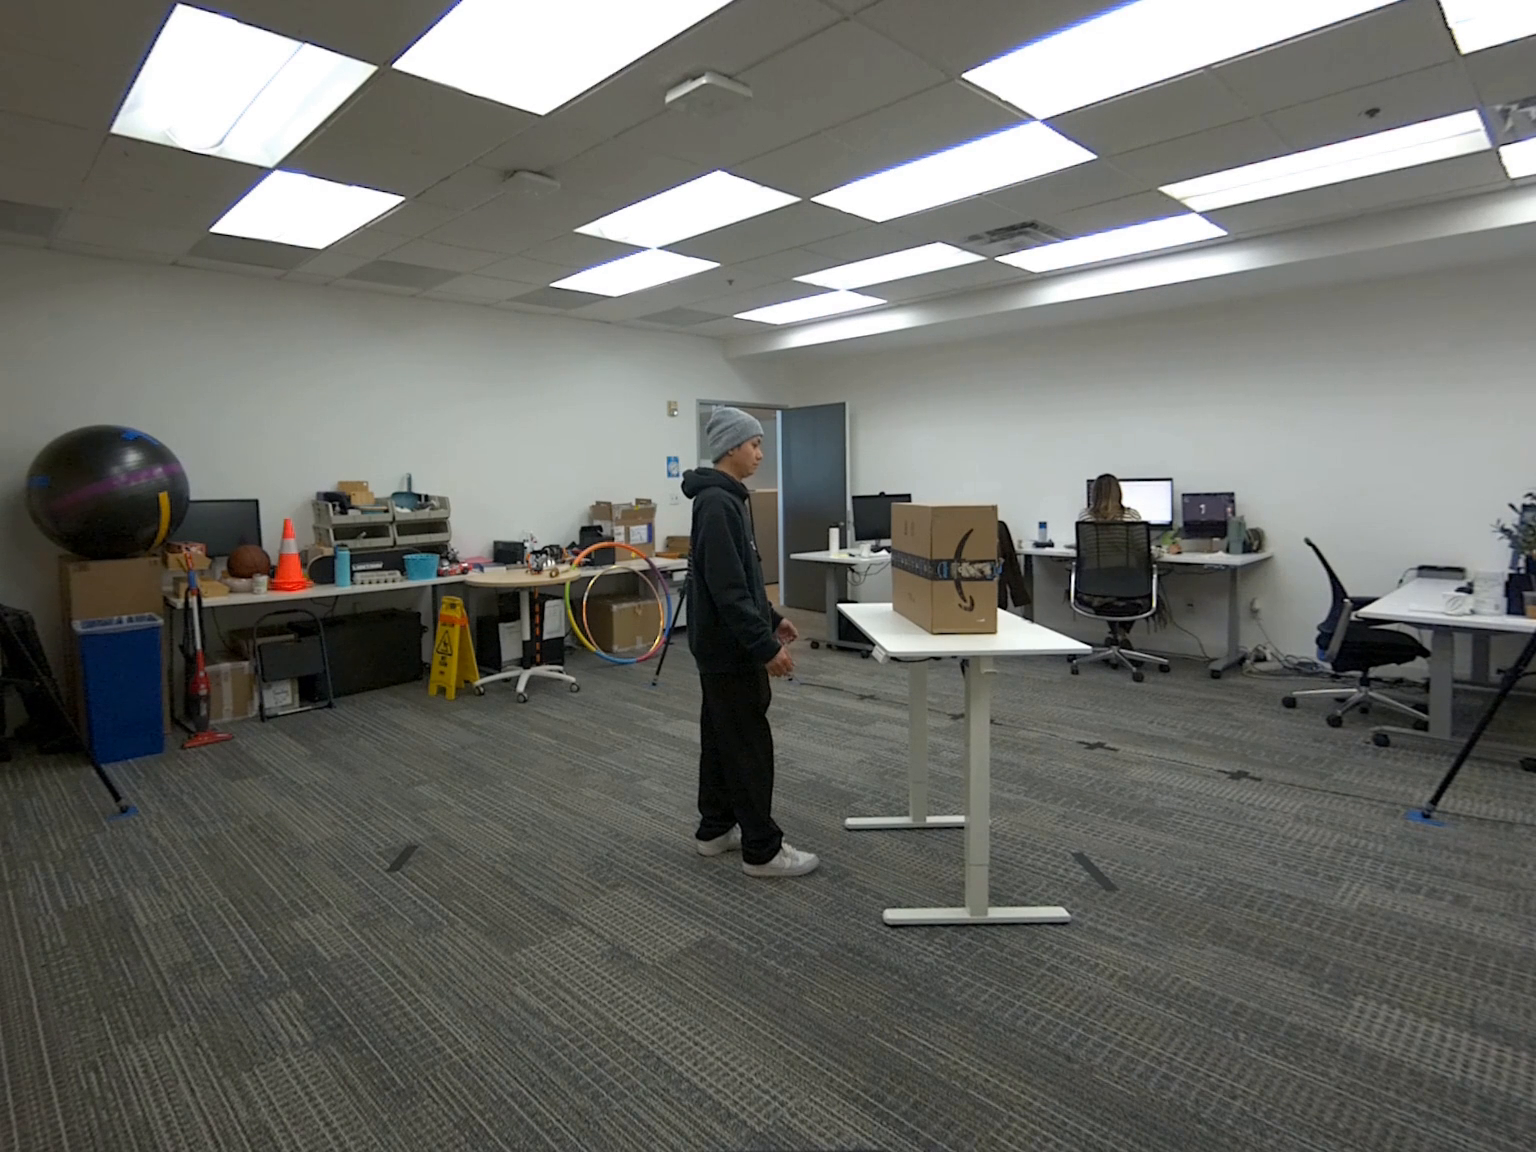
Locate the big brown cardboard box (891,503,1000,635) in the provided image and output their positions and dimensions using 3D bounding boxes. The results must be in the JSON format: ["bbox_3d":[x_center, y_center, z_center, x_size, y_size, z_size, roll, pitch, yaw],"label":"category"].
[{"bbox_3d":[0.607,-0.049,3.018,0.232,0.416,0.593,0,5,-5],"label":"big brown cardboard box"}]
